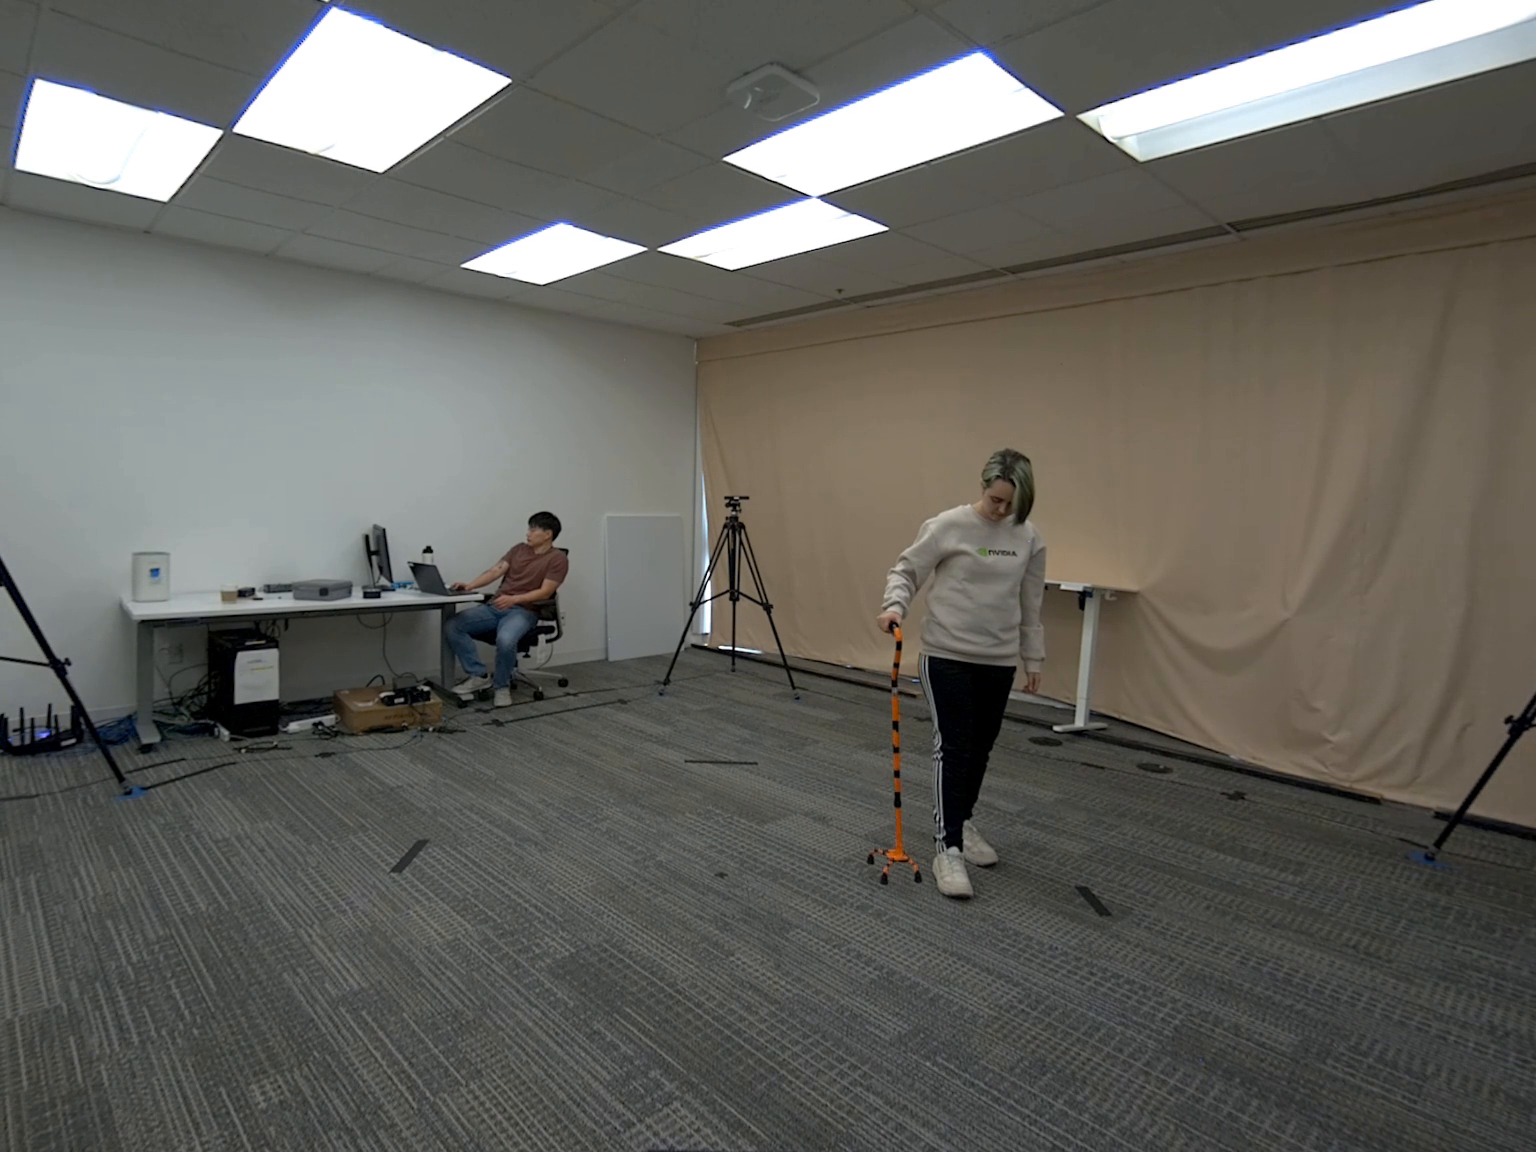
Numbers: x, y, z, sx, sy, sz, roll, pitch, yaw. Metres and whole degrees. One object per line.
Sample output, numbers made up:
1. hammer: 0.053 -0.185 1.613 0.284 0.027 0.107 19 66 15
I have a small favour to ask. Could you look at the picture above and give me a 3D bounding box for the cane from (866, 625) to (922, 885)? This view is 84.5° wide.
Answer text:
1. cane: 0.439 0.624 3.039 0.150 0.906 0.208 -1 3 -10
